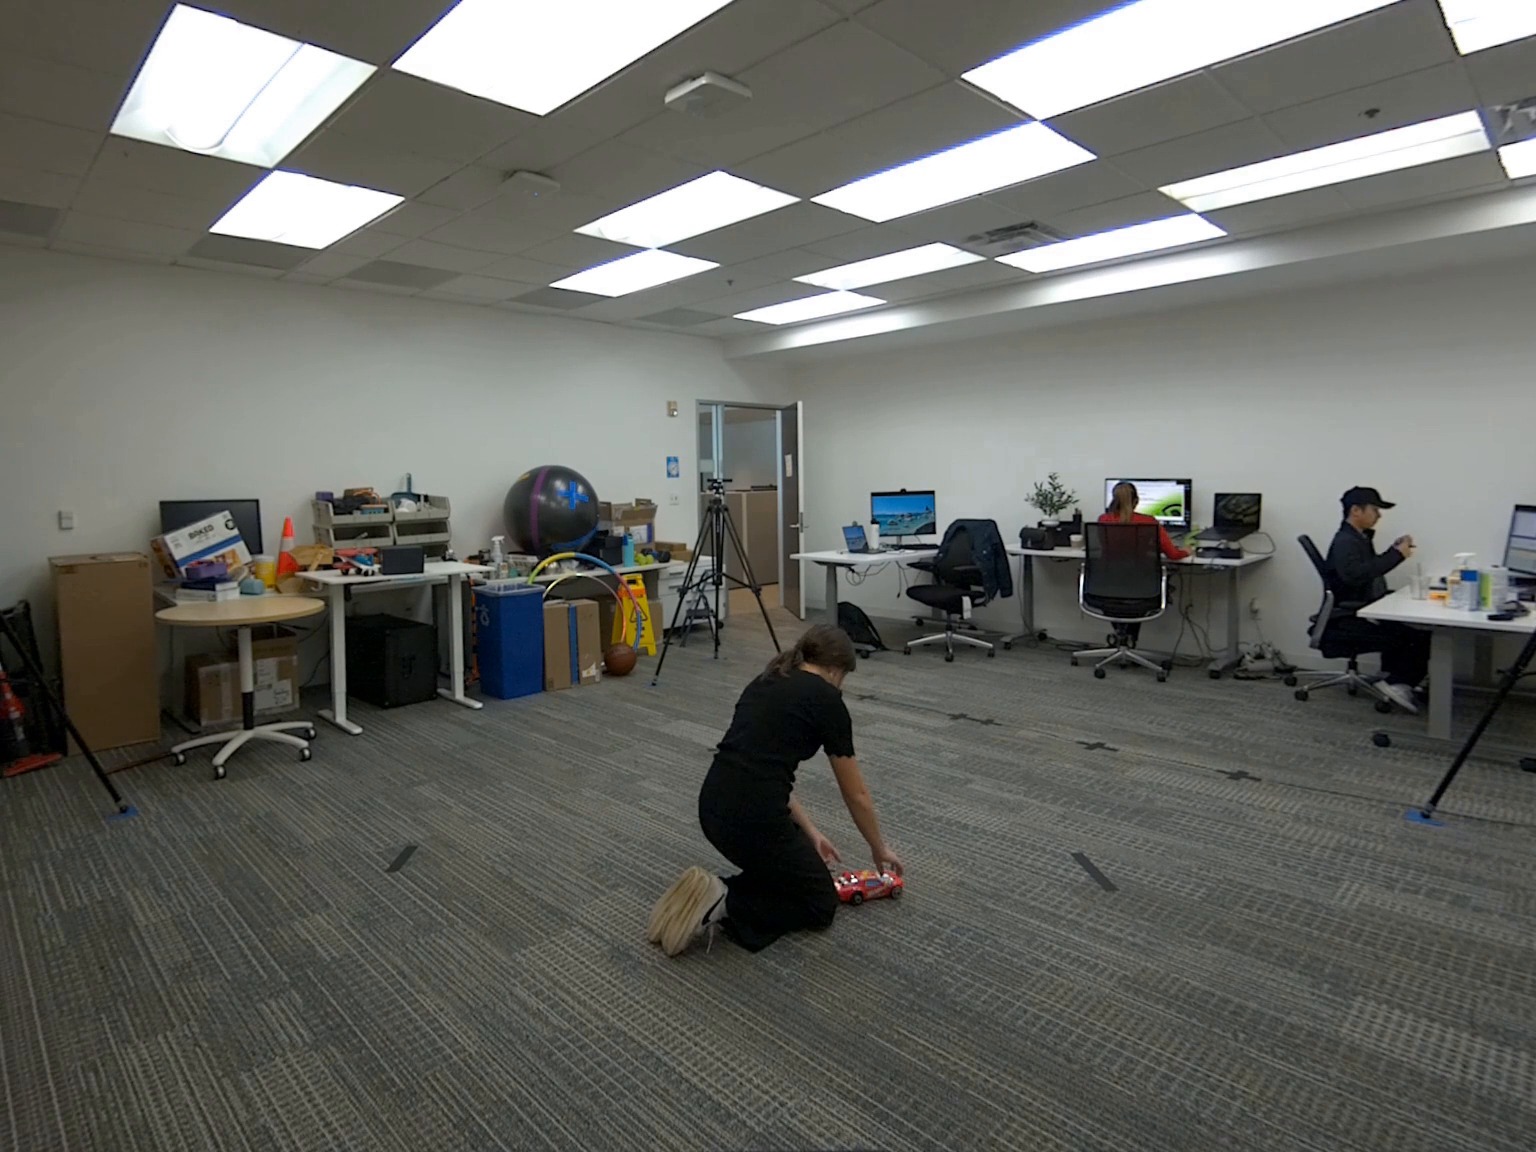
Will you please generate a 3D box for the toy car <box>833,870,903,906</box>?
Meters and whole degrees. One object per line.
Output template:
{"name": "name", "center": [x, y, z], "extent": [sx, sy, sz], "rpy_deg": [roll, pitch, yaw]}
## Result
{"name": "toy car", "center": [0.321, 1.035, 2.848], "extent": [0.250, 0.083, 0.133], "rpy_deg": [8, 3, -18]}
